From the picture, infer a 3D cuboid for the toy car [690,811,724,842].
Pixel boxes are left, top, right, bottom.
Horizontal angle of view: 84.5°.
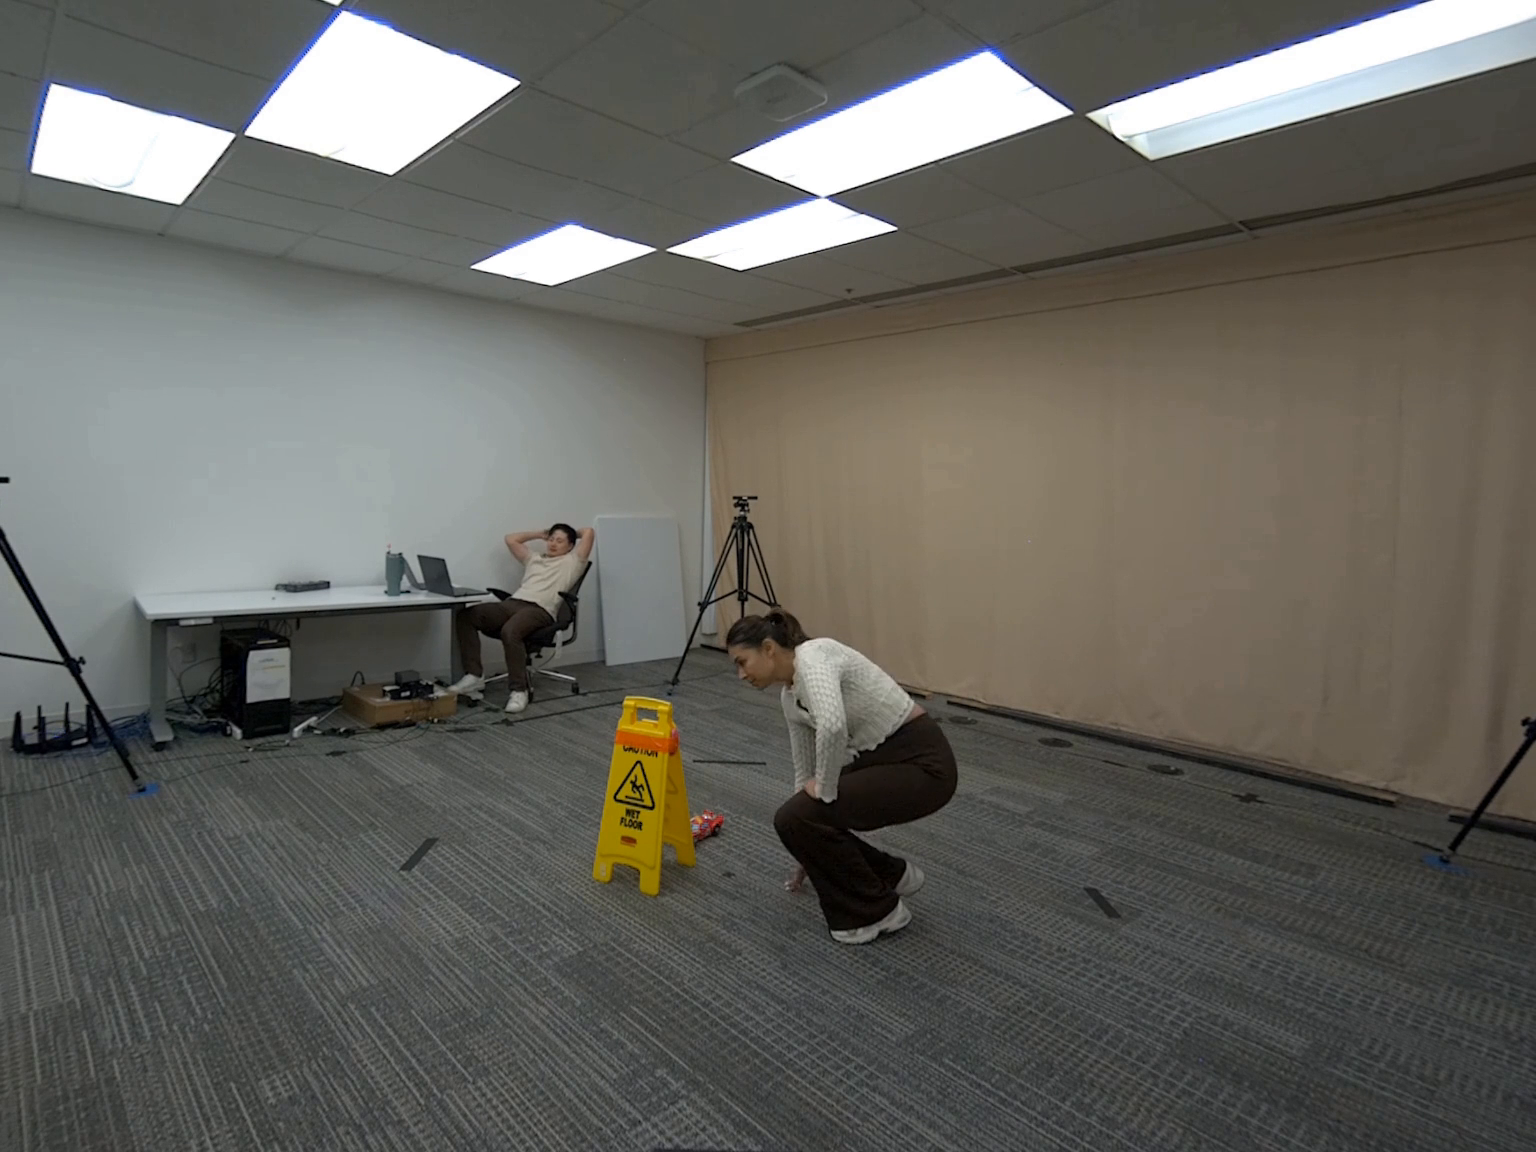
[{"bbox_3d":[-0.290,1.039,3.455,0.133,0.082,0.251,4,17,36],"label":"toy car"}]
